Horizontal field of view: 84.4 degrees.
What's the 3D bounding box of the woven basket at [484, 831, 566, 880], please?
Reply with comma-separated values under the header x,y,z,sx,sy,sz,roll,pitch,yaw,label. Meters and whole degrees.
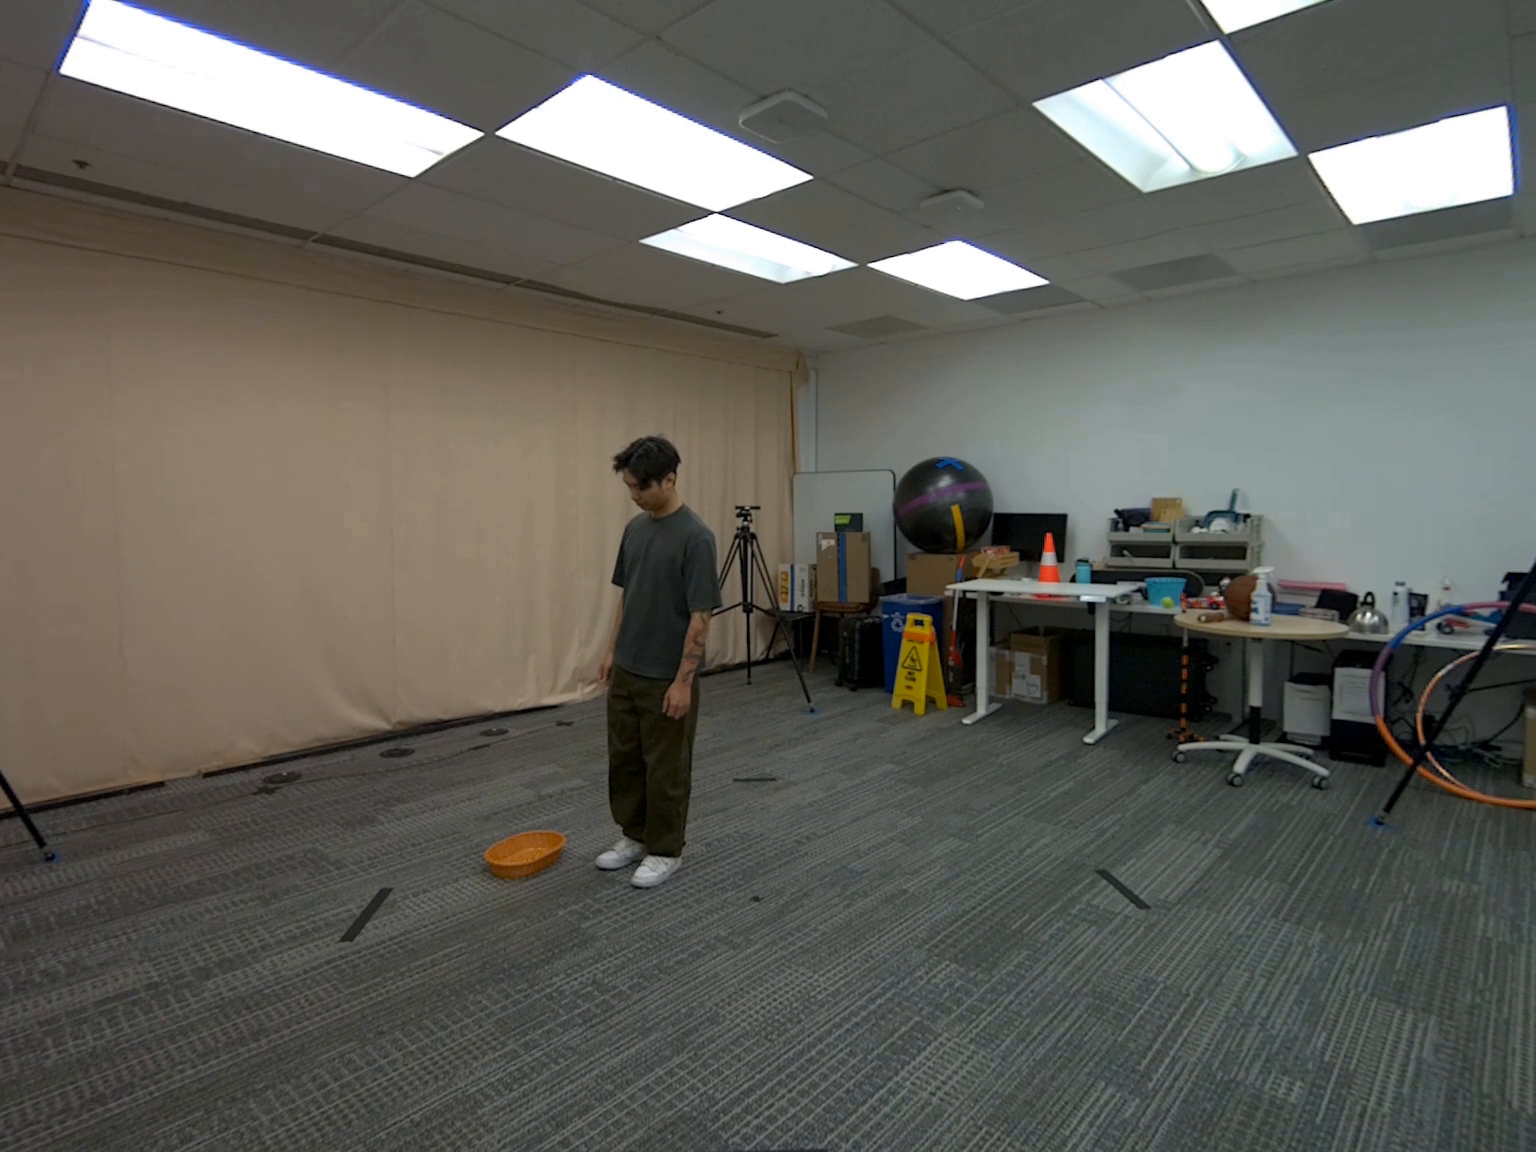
x,y,z,sx,sy,sz,roll,pitch,yaw,label
-0.950,1.095,3.299,0.260,0.073,0.341,2,5,33,woven basket
